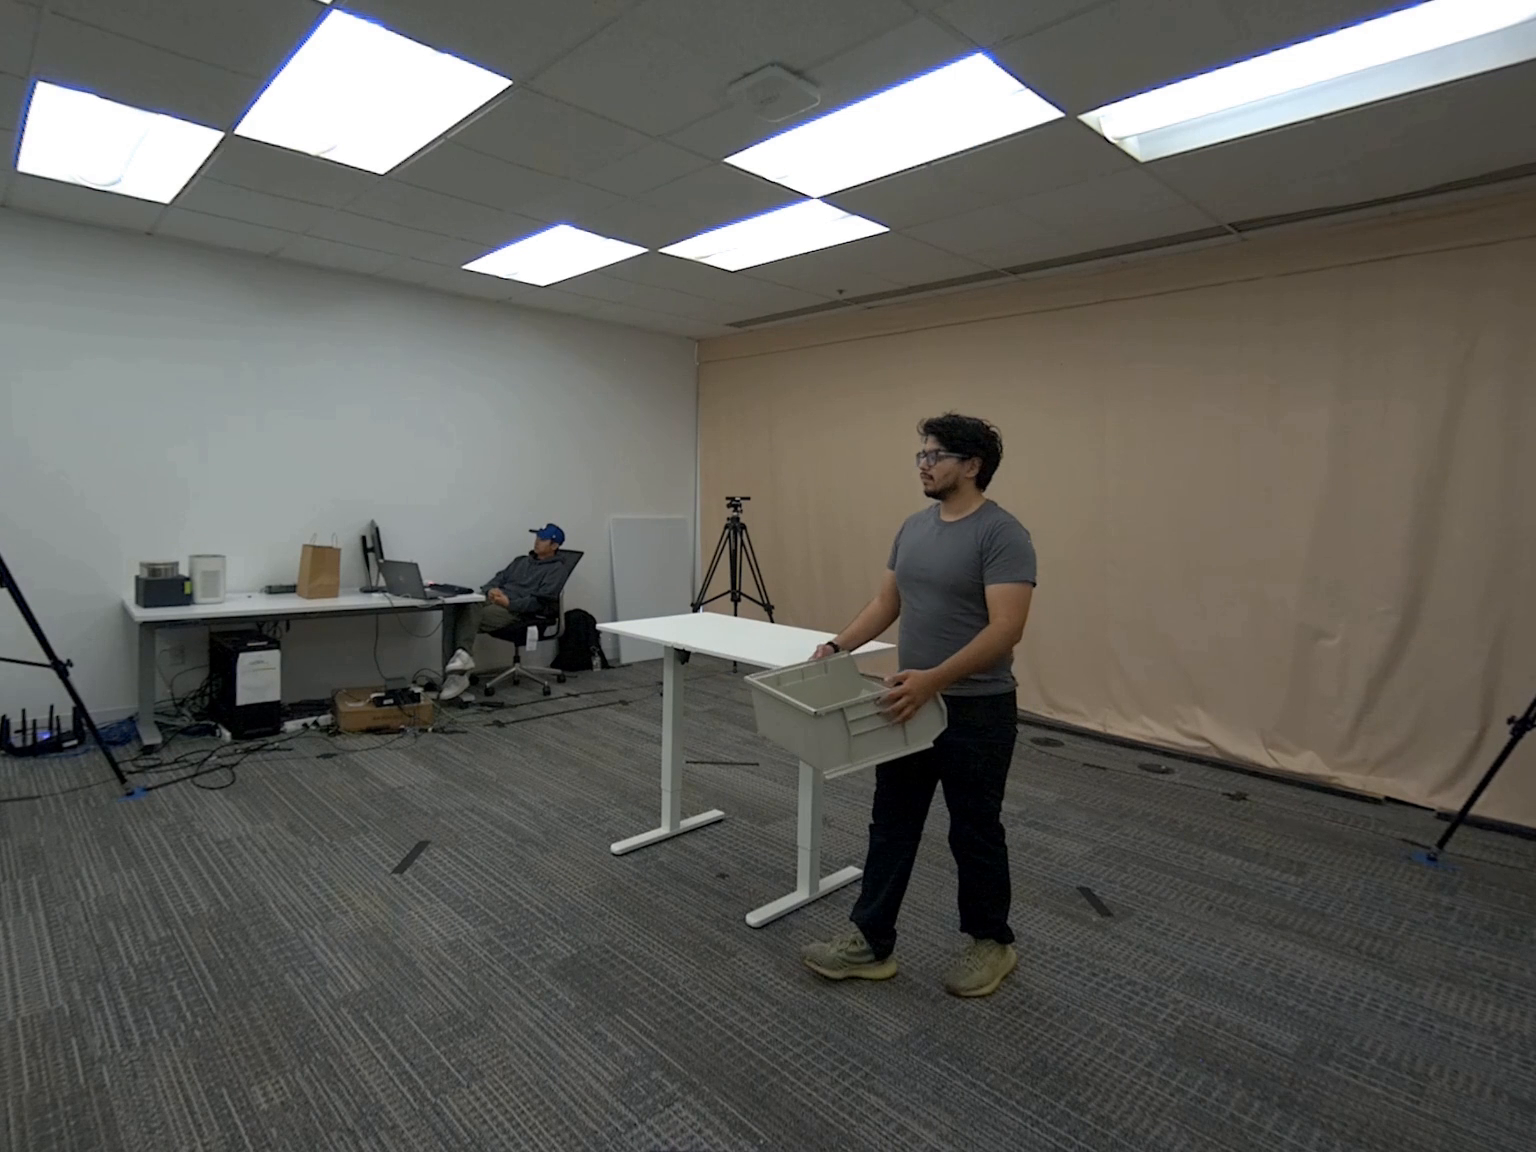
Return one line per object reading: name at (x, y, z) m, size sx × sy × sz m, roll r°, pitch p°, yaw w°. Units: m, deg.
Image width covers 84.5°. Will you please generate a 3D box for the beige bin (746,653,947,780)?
beige bin at (0.194, 0.356, 2.268) m, size 0.372 × 0.187 × 0.431 m, roll -13°, pitch 11°, yaw -23°
